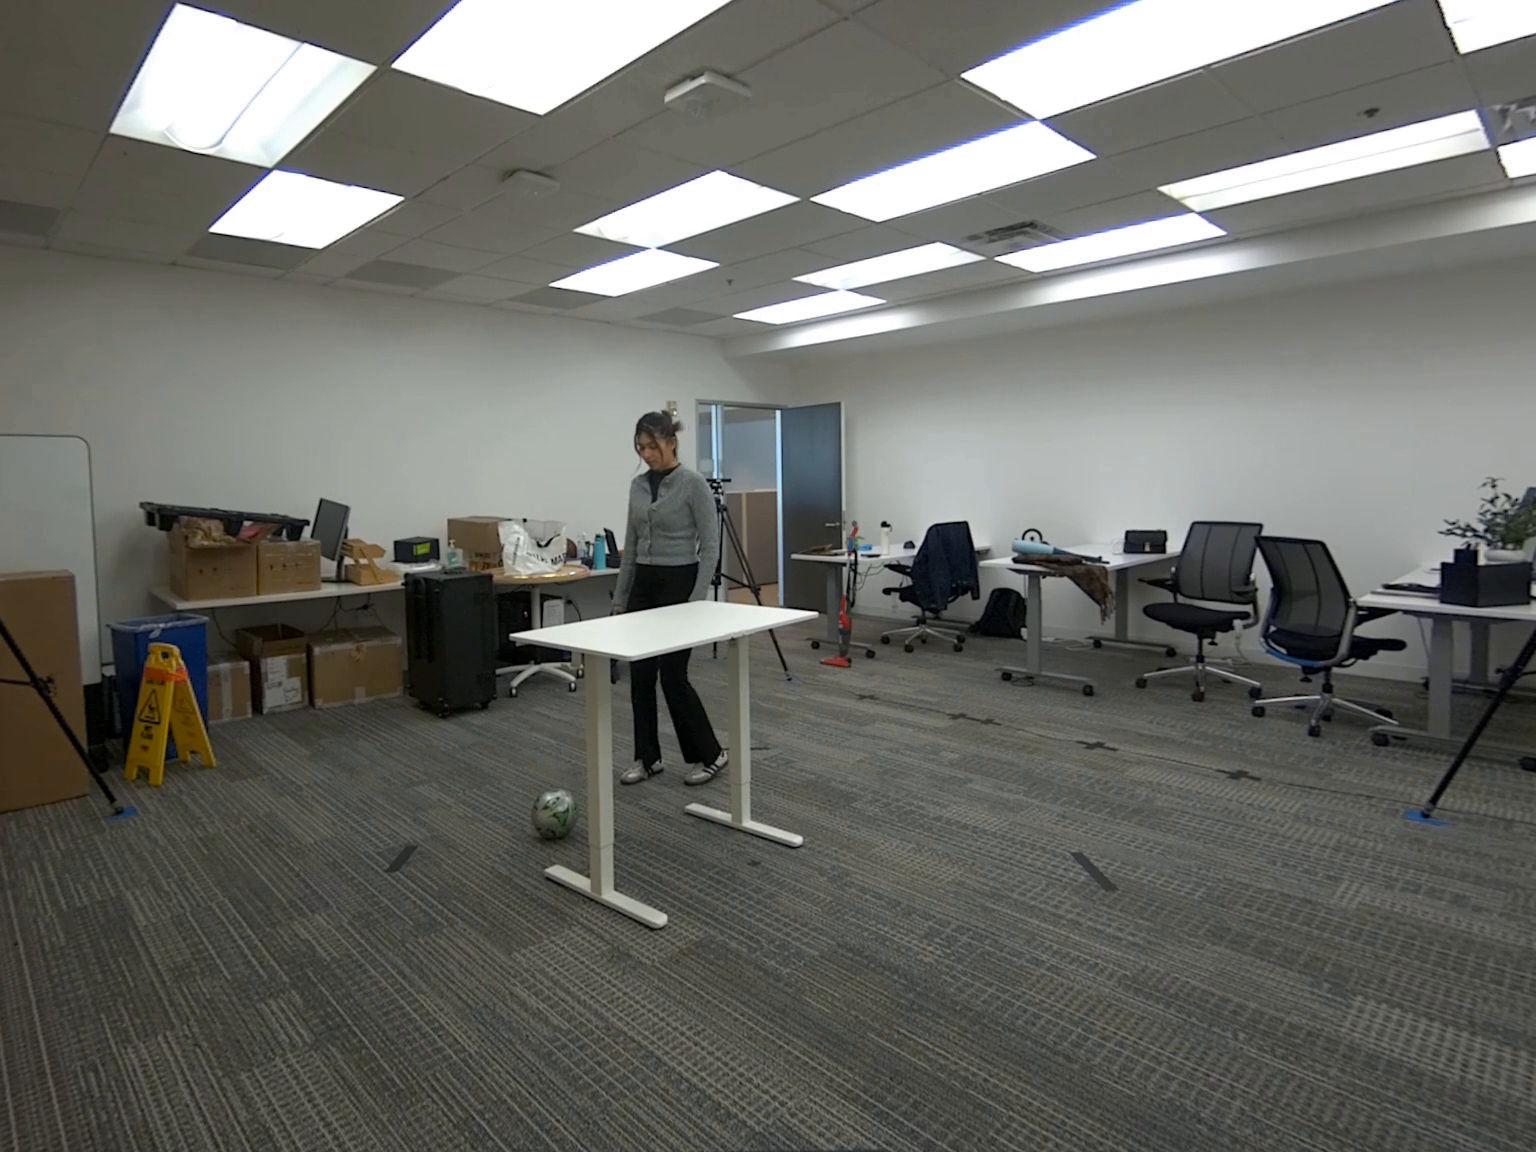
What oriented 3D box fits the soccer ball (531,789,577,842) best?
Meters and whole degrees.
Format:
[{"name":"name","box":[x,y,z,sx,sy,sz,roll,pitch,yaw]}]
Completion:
[{"name":"soccer ball","box":[-0.845,0.937,3.373,0.187,0.187,0.188,-1,5,-2]}]
